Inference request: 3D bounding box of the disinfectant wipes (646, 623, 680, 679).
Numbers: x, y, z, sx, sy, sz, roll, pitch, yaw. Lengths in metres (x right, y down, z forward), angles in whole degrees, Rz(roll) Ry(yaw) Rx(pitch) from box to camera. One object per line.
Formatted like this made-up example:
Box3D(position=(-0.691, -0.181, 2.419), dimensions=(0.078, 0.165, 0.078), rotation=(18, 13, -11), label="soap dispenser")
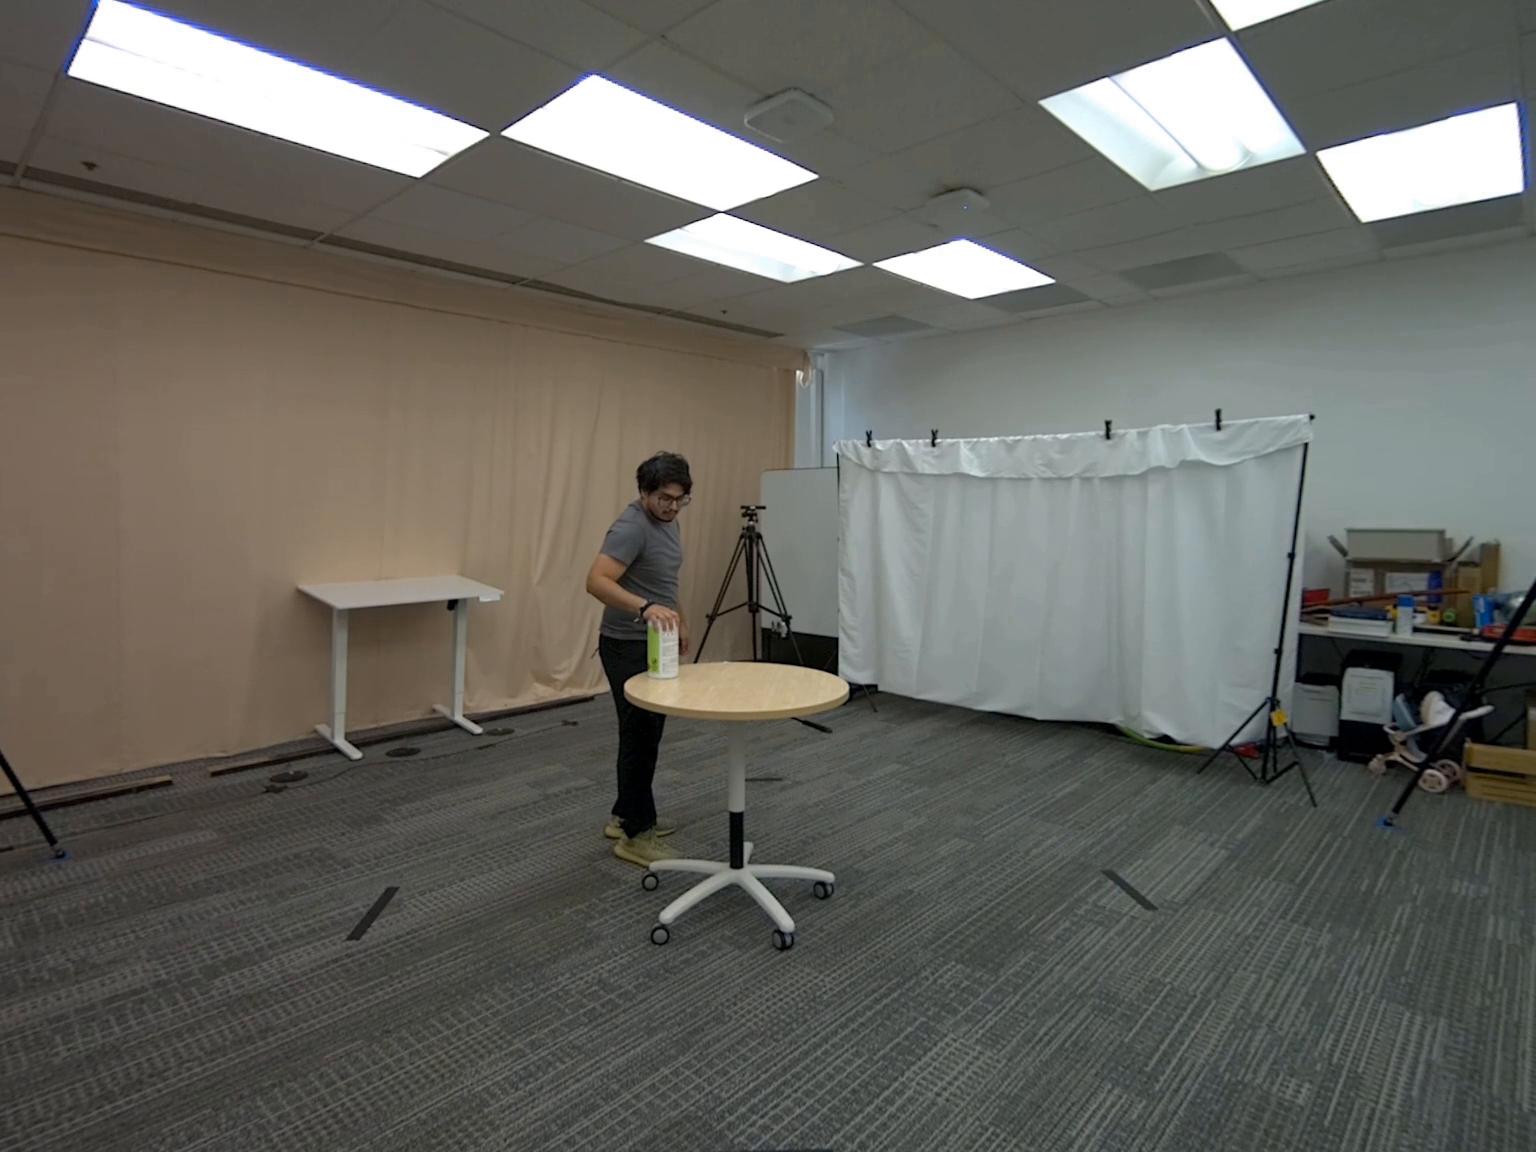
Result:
Box3D(position=(-0.373, 0.253, 3.002), dimensions=(0.118, 0.217, 0.118), rotation=(-1, 3, -2), label="disinfectant wipes")
